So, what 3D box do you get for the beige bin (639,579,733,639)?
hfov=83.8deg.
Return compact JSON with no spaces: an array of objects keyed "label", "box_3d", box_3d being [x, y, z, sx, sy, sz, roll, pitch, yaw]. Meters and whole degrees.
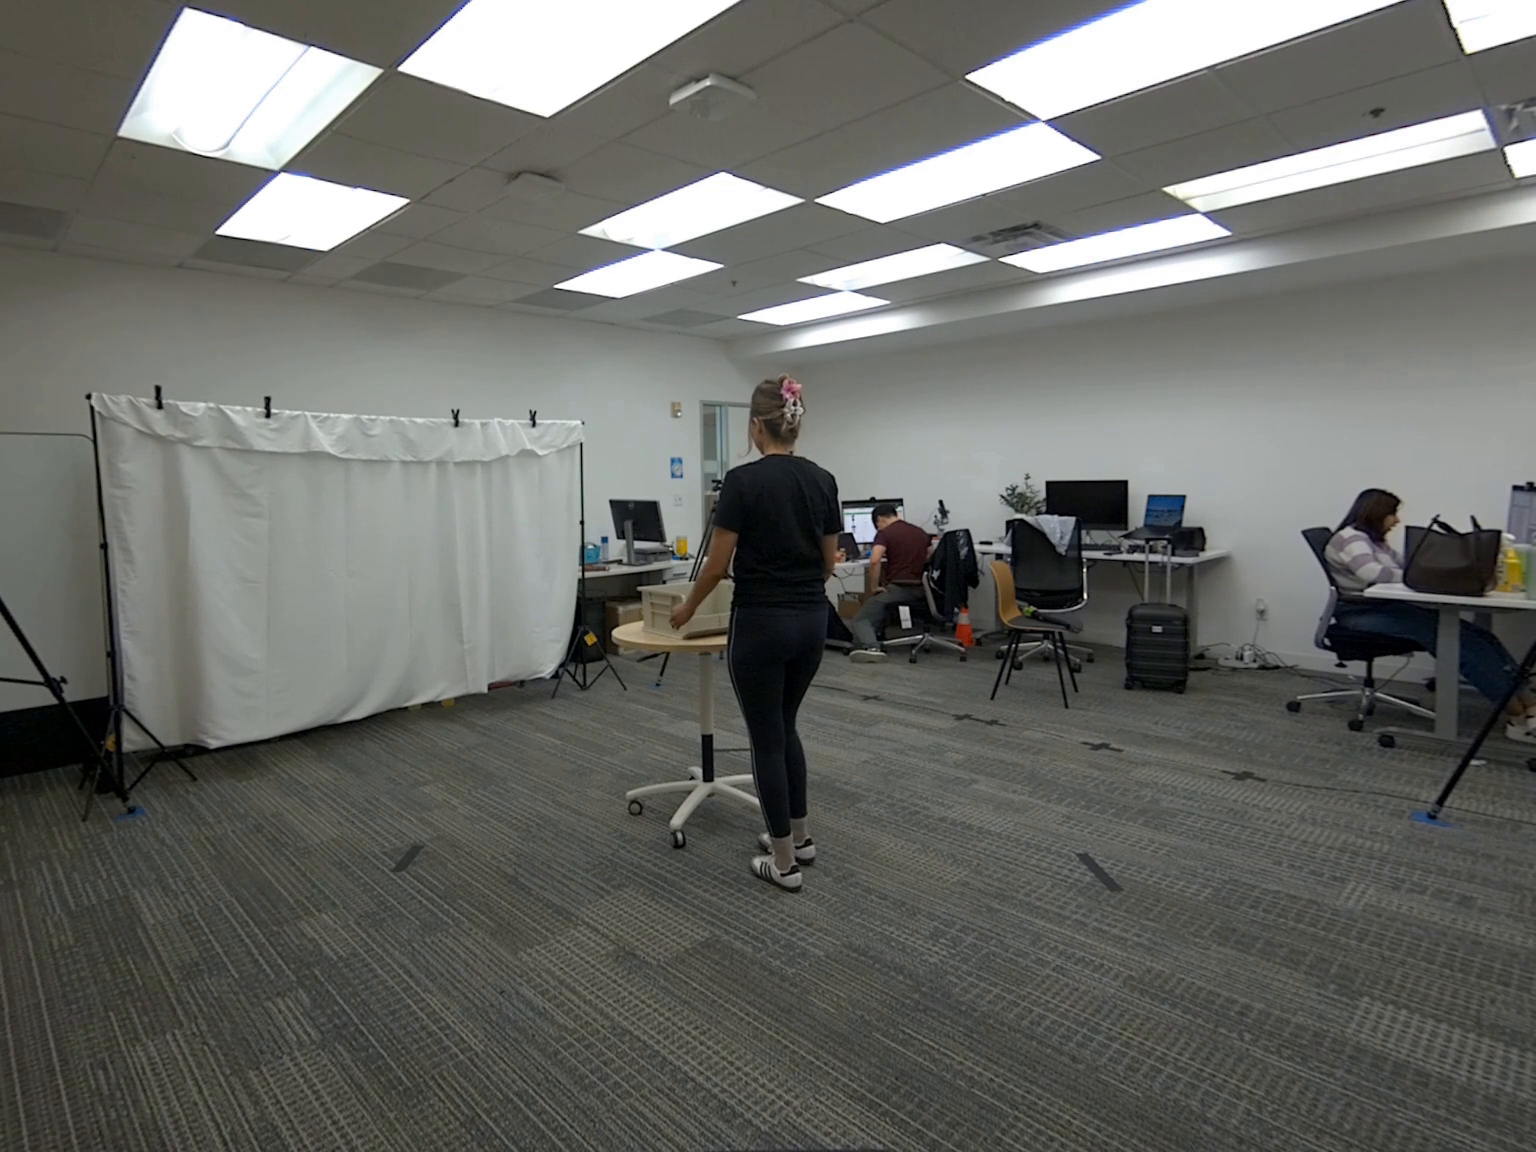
[{"label":"beige bin","box_3d":[-0.264,0.137,3.522,0.412,0.188,0.388,-7,7,-37]}]
